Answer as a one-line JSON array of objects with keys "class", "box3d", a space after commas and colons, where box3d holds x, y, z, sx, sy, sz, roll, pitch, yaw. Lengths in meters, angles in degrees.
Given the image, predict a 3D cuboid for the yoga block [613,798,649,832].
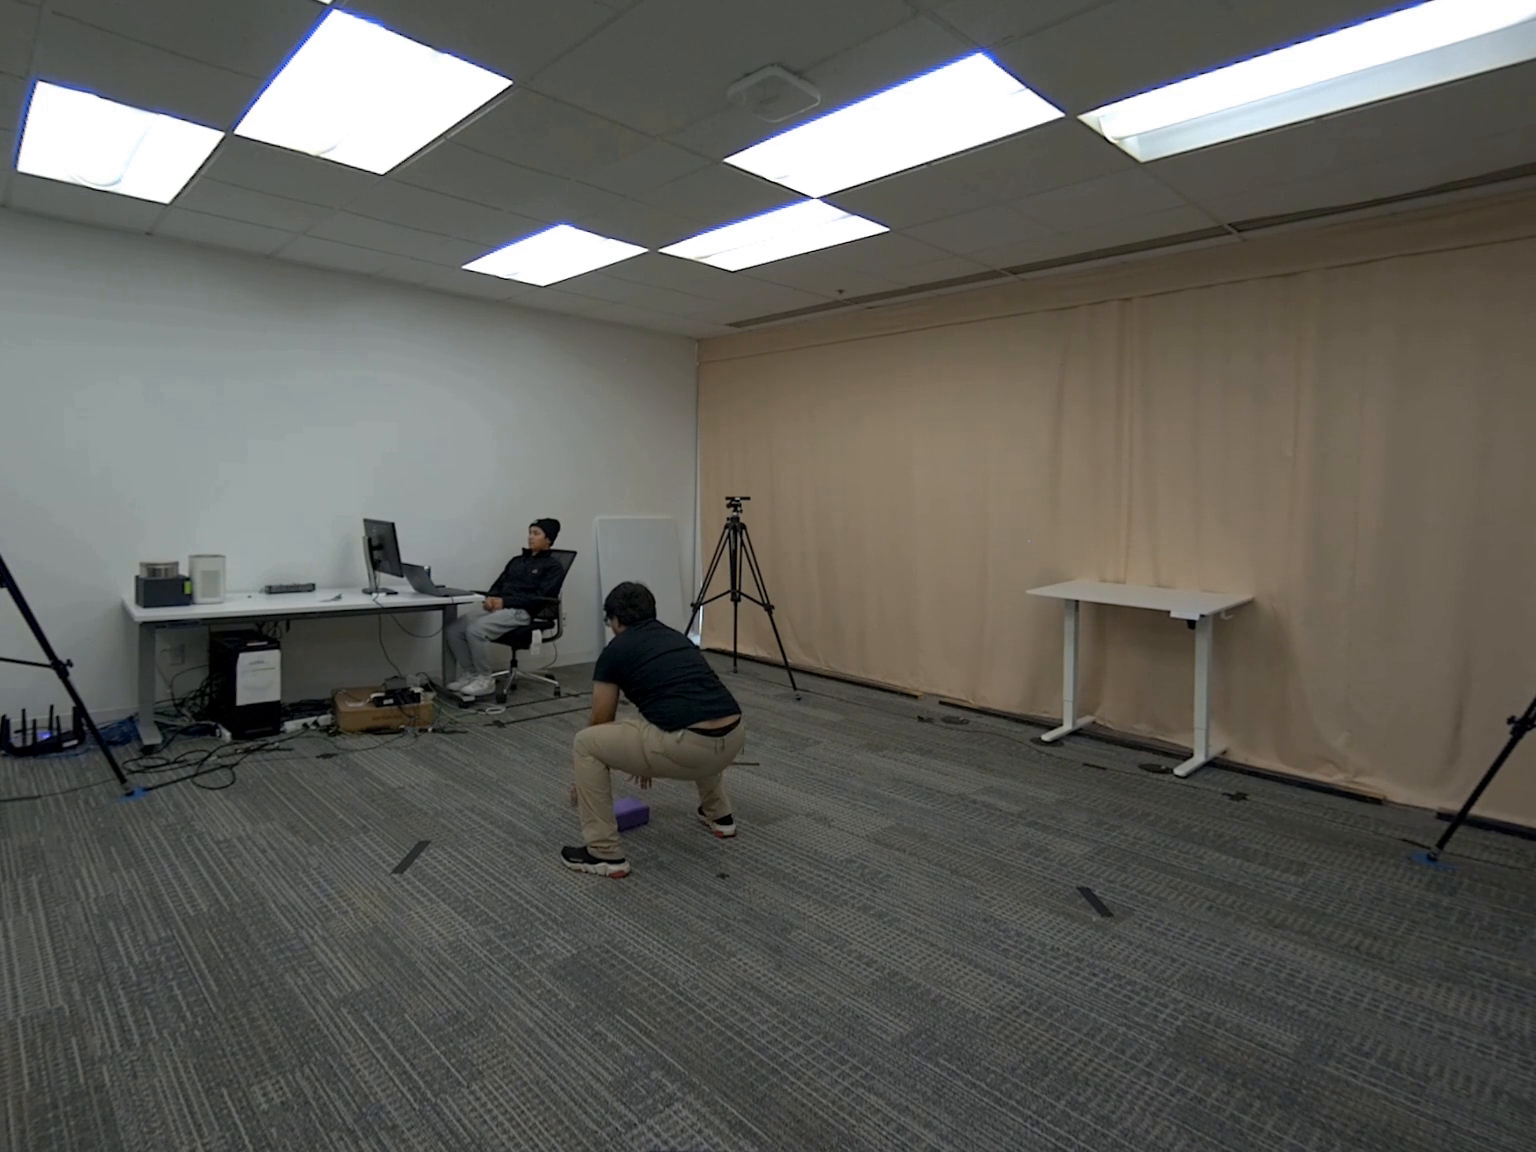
[{"class": "yoga block", "box3d": [-0.640, 1.008, 3.573, 0.224, 0.076, 0.153, -5, 8, -43]}]
